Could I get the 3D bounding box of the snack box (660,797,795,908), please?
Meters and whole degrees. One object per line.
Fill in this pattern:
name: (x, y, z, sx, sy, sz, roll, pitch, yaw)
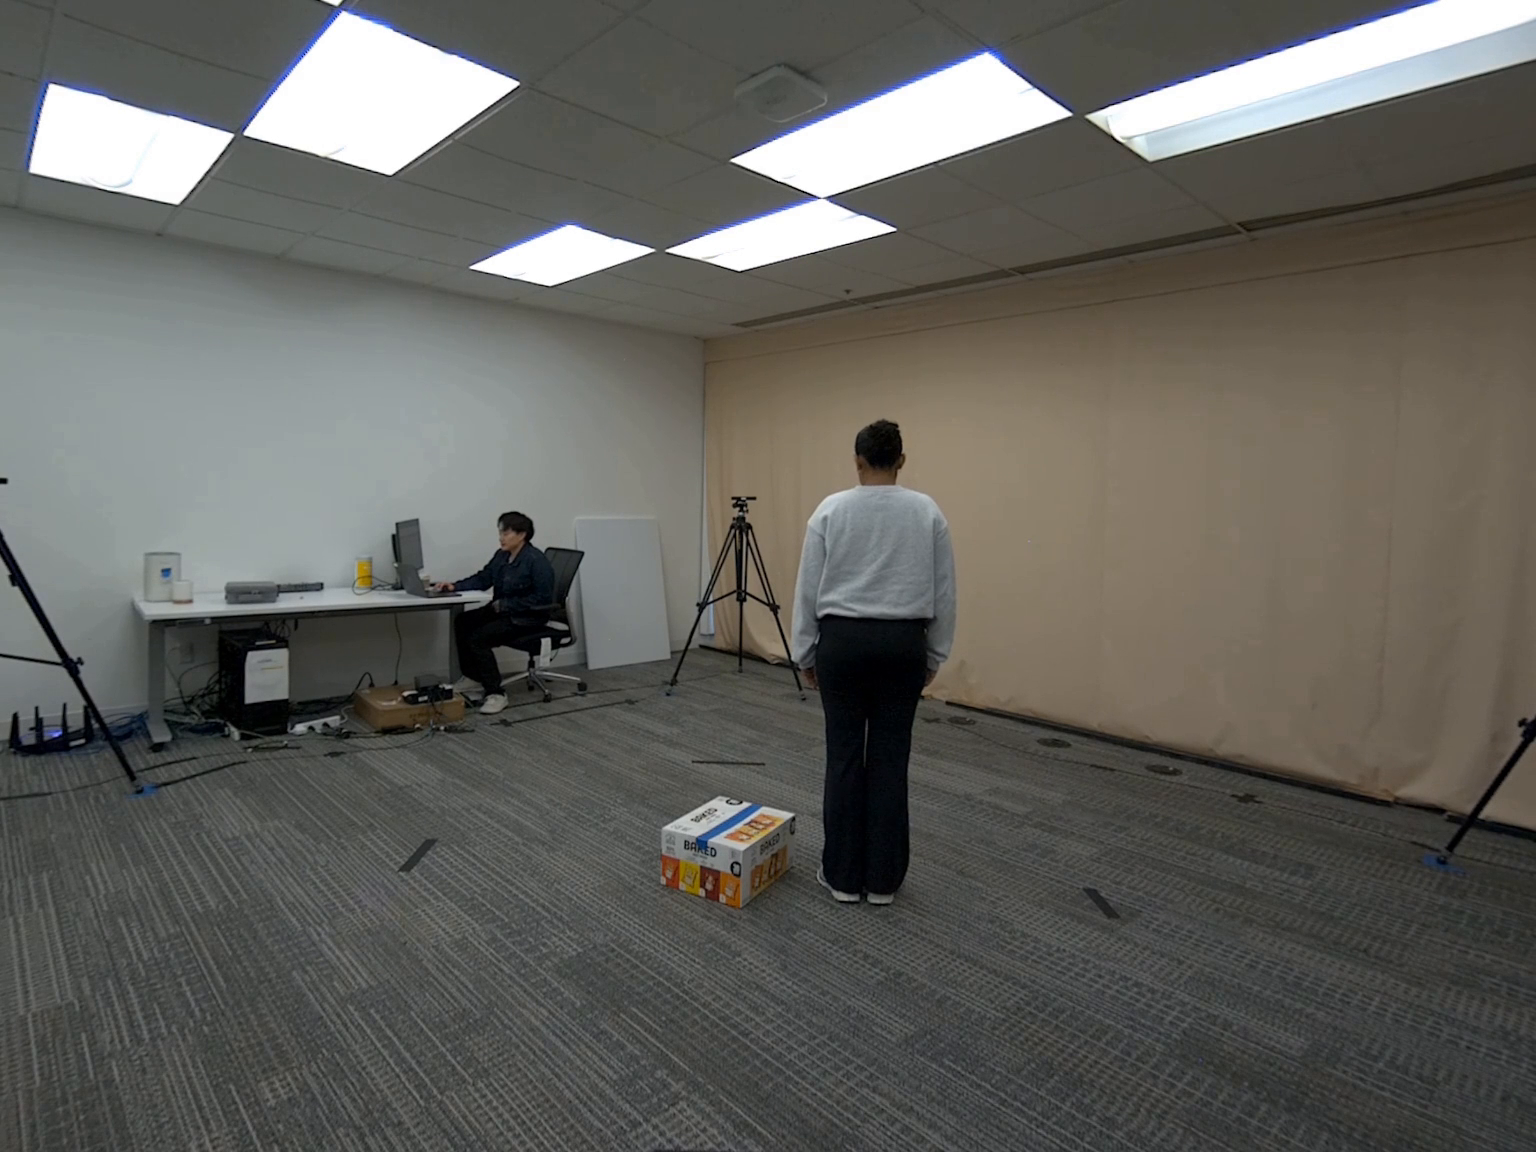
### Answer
snack box: (-0.149, 1.006, 3.104, 0.348, 0.205, 0.397, 4, 6, 30)
